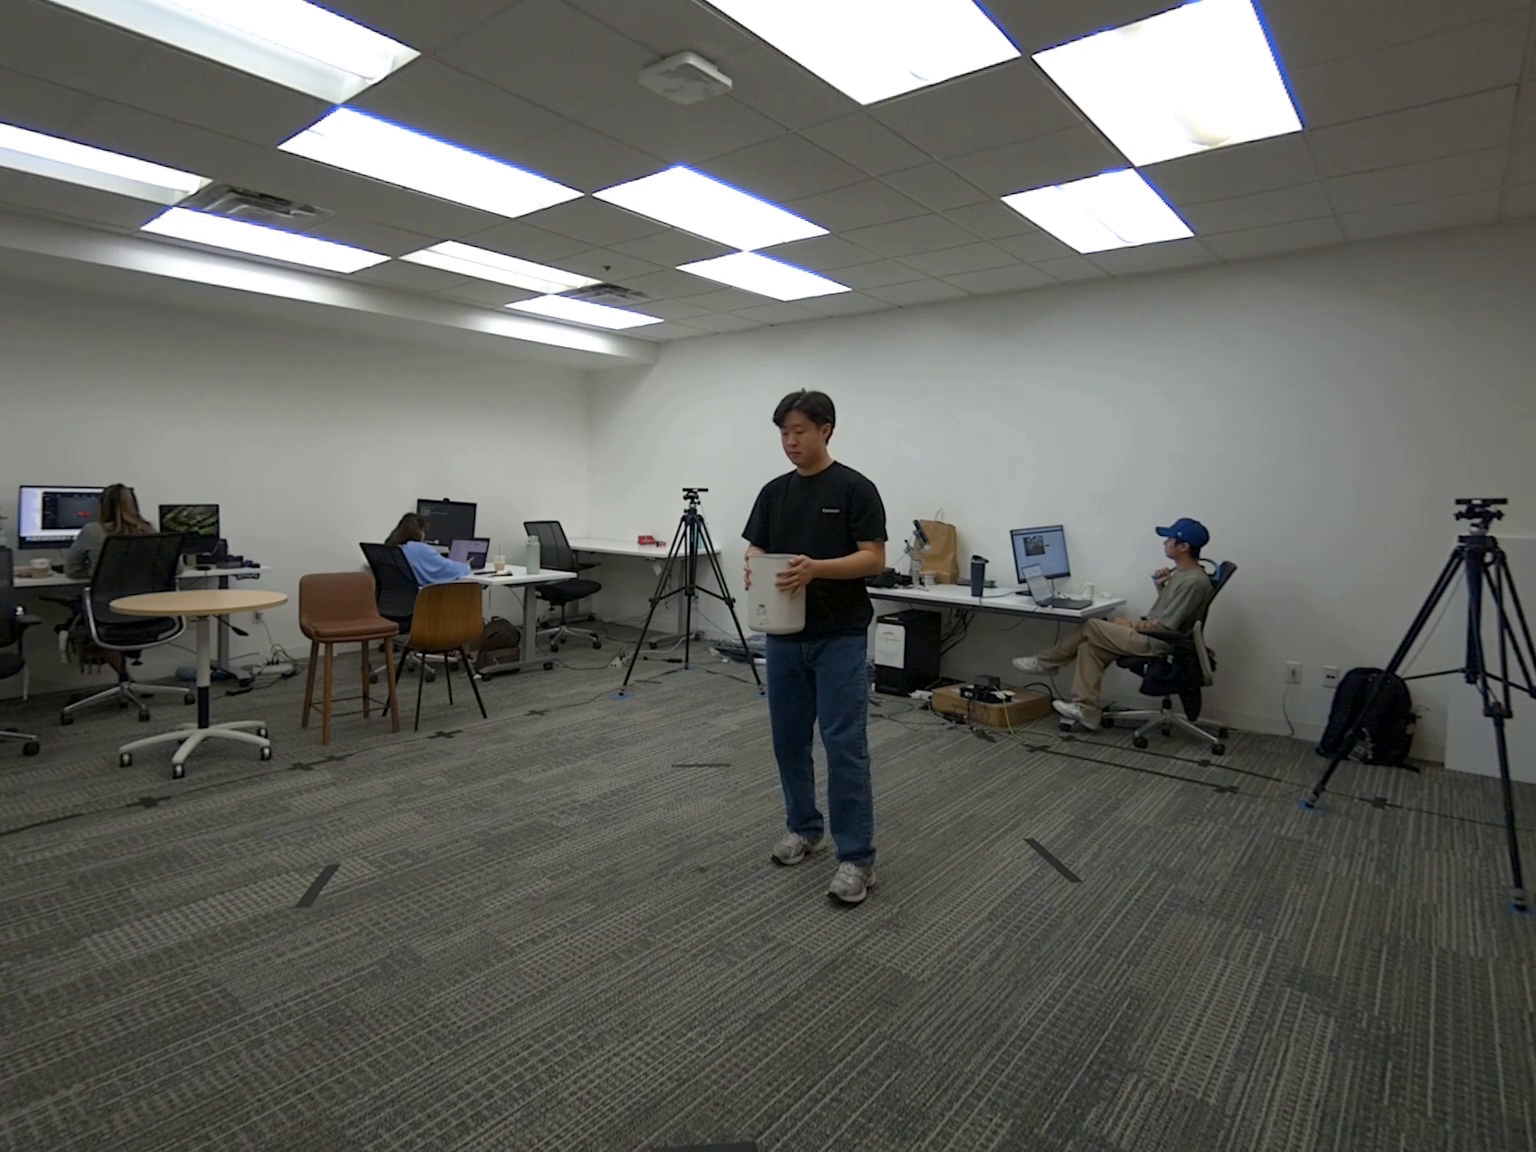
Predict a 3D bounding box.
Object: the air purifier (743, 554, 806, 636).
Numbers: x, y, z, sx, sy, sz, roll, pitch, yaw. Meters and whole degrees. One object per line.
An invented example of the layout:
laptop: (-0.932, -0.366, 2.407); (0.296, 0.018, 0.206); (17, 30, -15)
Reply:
air purifier: (0.046, 0.058, 2.960); (0.177, 0.265, 0.166); (7, 1, 37)
